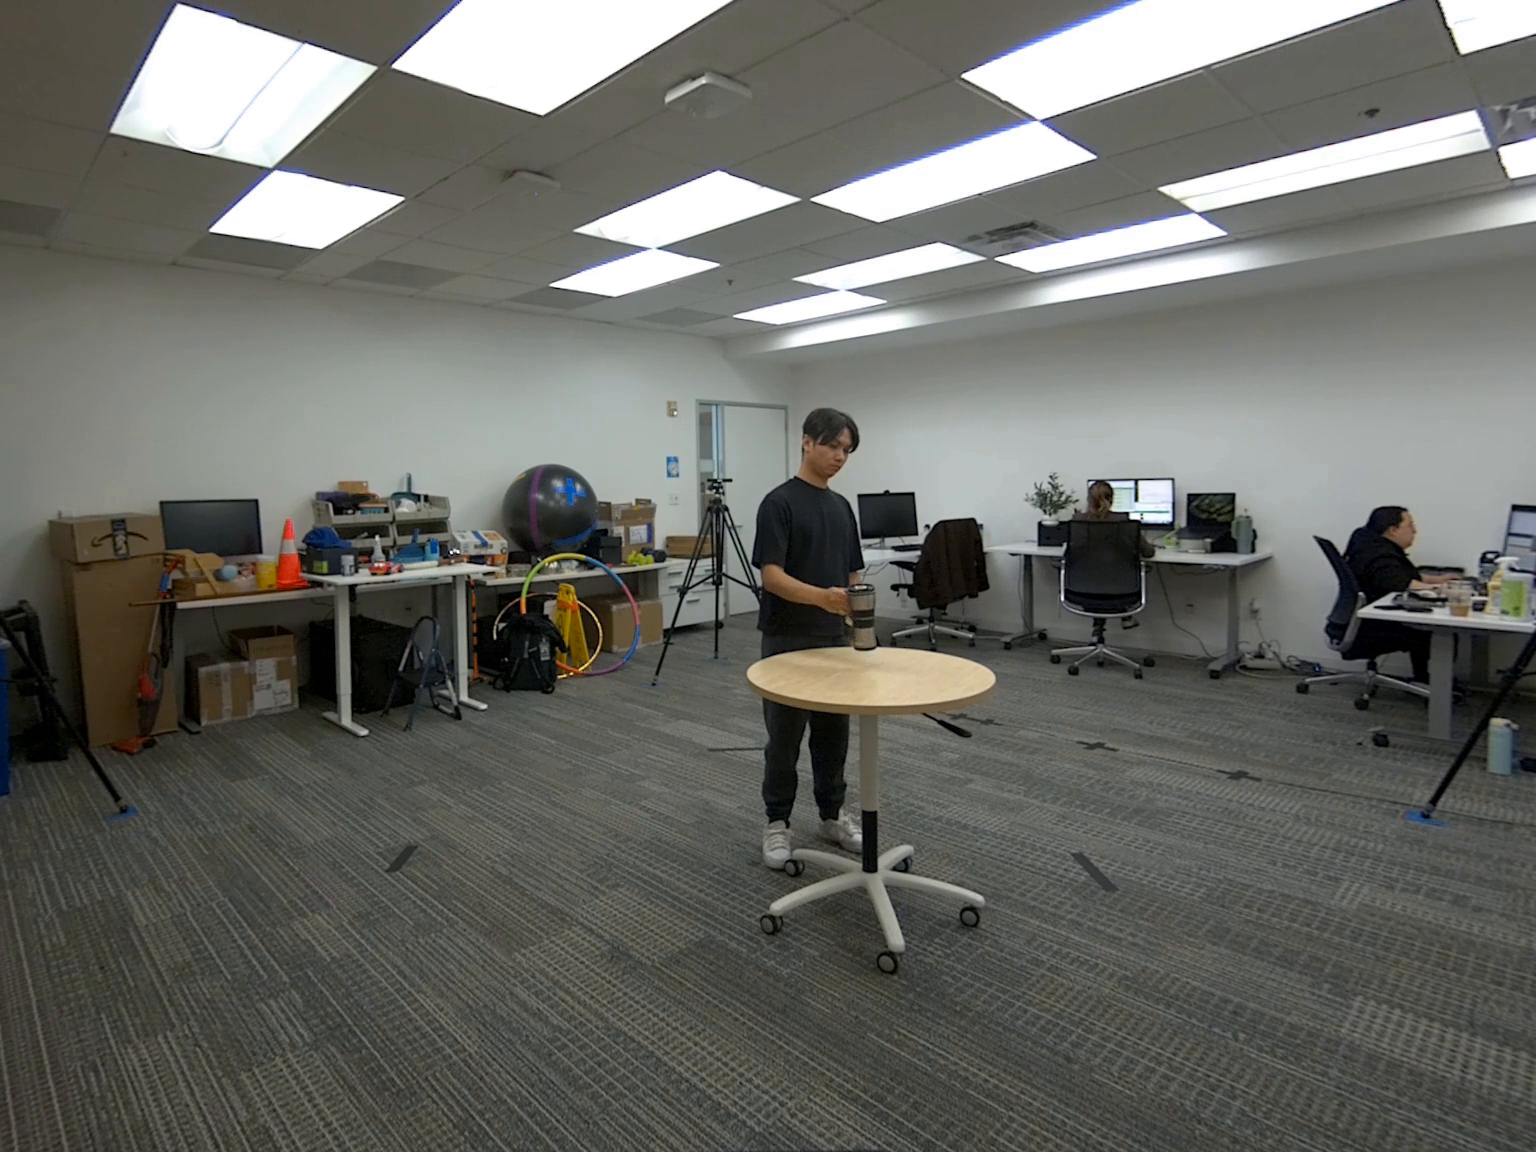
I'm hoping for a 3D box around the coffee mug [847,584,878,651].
[{"bbox_3d":[0.290,0.124,2.741,0.086,0.201,0.125,-10,9,-31],"label":"coffee mug"}]
